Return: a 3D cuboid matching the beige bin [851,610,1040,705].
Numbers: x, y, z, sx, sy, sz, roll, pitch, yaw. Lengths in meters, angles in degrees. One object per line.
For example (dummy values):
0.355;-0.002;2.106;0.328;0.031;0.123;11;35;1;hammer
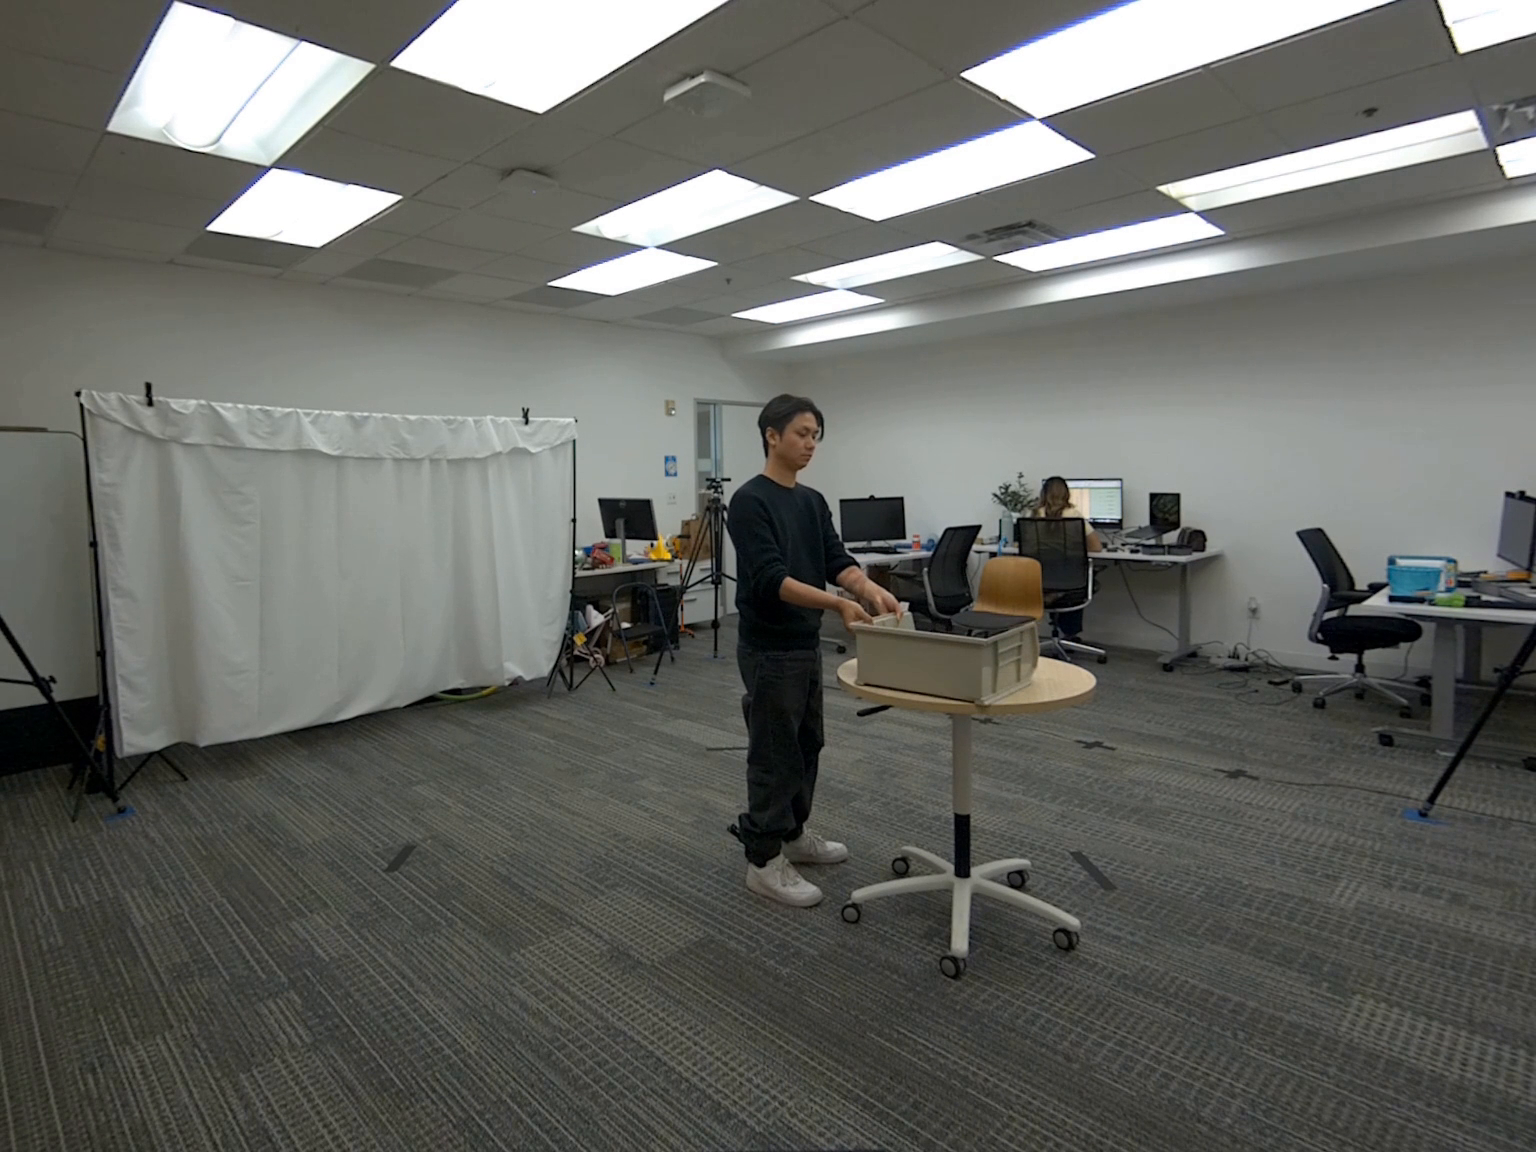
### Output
0.521;0.222;2.502;0.435;0.188;0.368;4;8;40;beige bin
